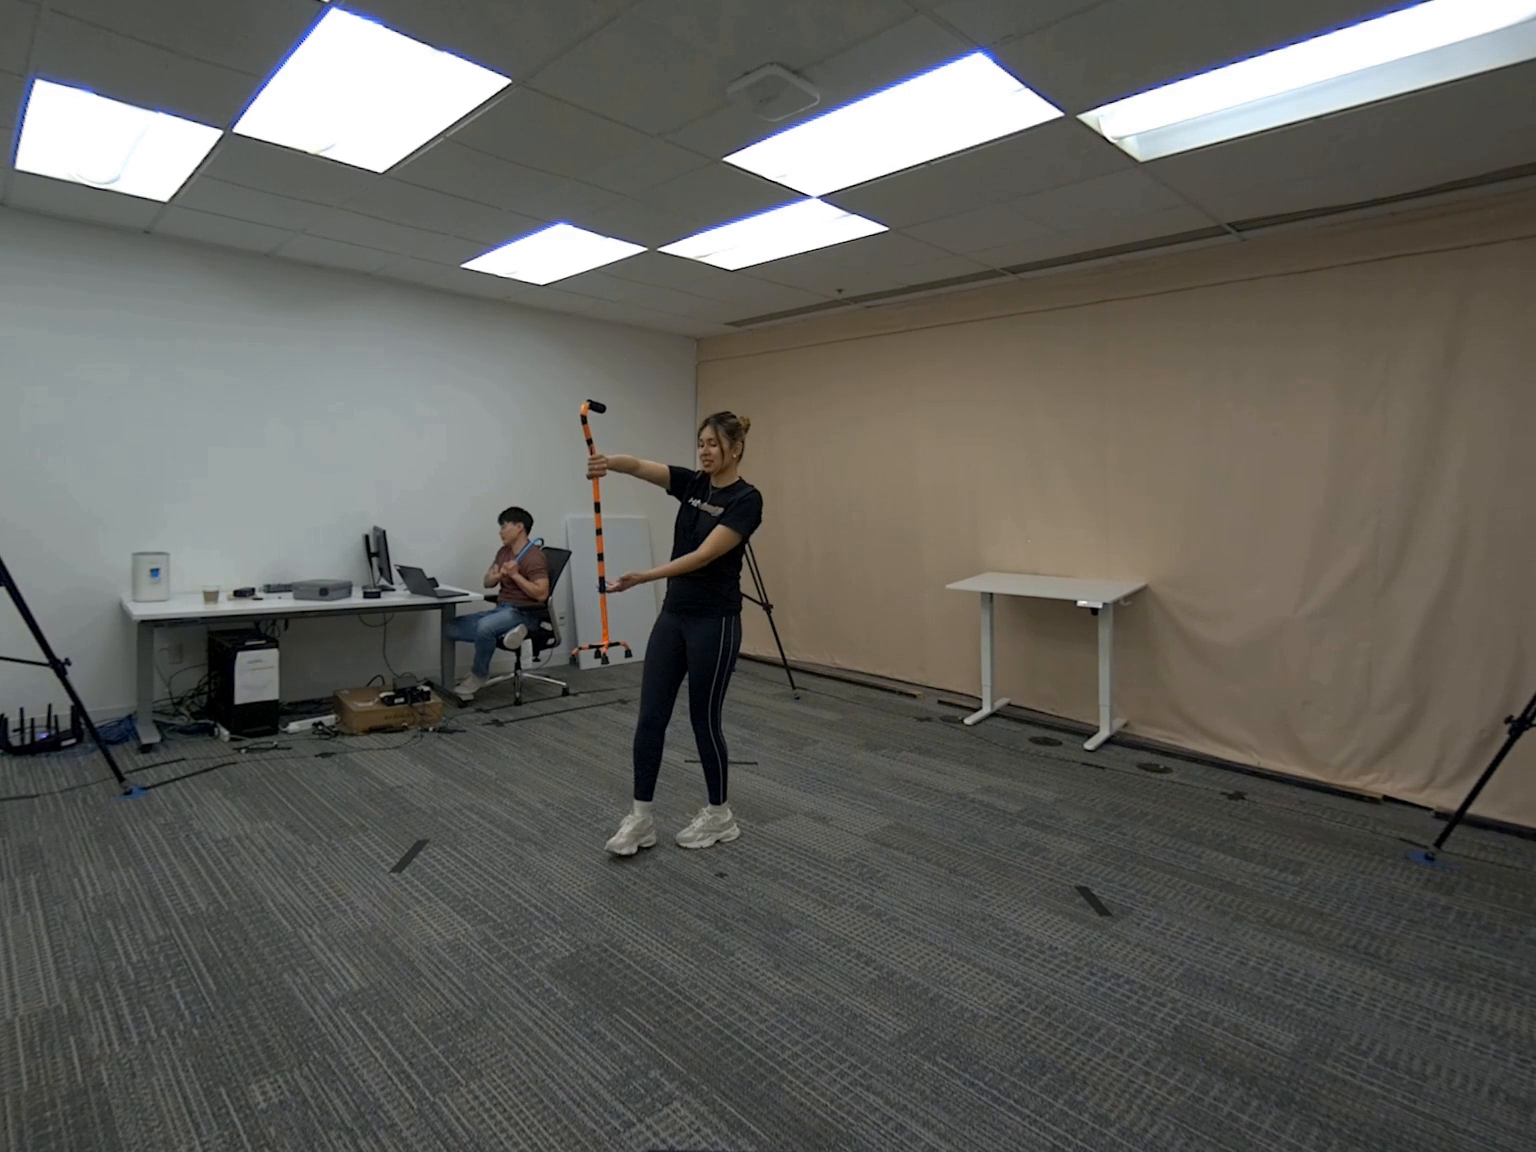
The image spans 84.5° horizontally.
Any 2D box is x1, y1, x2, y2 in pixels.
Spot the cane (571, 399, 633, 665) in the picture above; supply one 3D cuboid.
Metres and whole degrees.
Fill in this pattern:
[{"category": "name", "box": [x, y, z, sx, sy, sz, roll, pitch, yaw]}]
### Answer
[{"category": "cane", "box": [-0.622, -0.169, 2.920, 0.153, 0.910, 0.203, -4, -3, 16]}]
